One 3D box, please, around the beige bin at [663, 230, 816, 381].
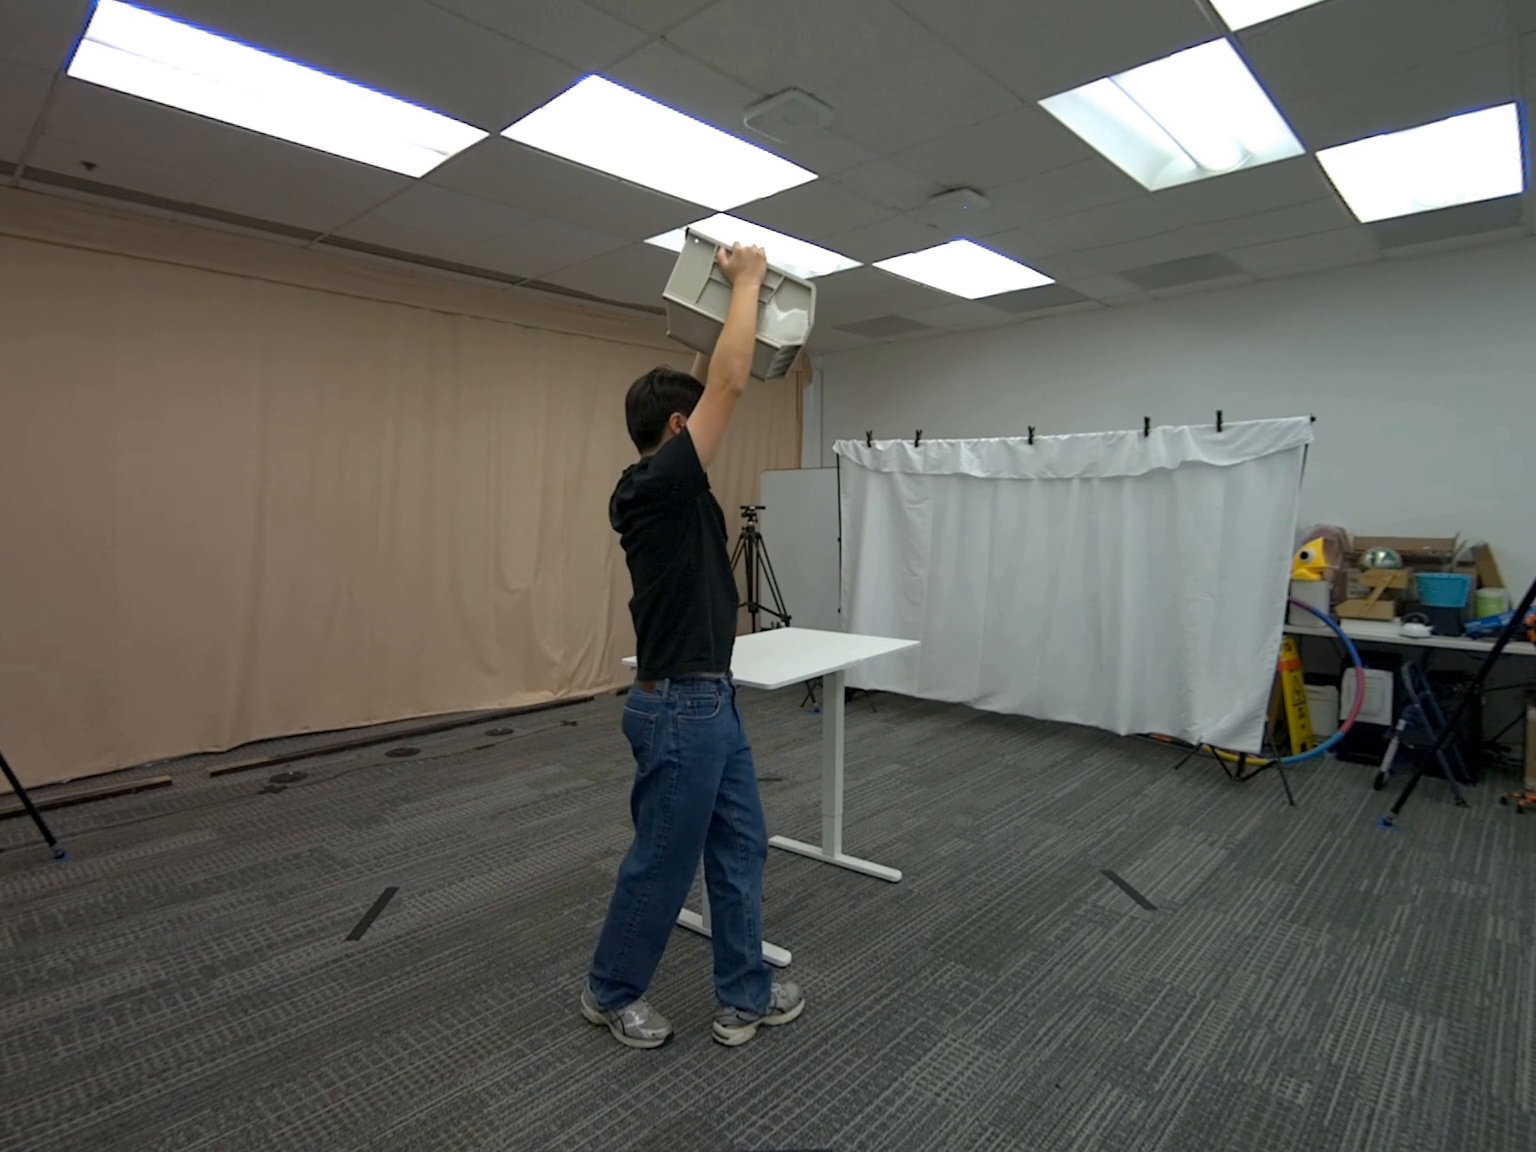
[{"bbox_3d":[-0.079,-0.702,2.241,0.376,0.189,0.423,23,-1,-3],"label":"beige bin"}]
